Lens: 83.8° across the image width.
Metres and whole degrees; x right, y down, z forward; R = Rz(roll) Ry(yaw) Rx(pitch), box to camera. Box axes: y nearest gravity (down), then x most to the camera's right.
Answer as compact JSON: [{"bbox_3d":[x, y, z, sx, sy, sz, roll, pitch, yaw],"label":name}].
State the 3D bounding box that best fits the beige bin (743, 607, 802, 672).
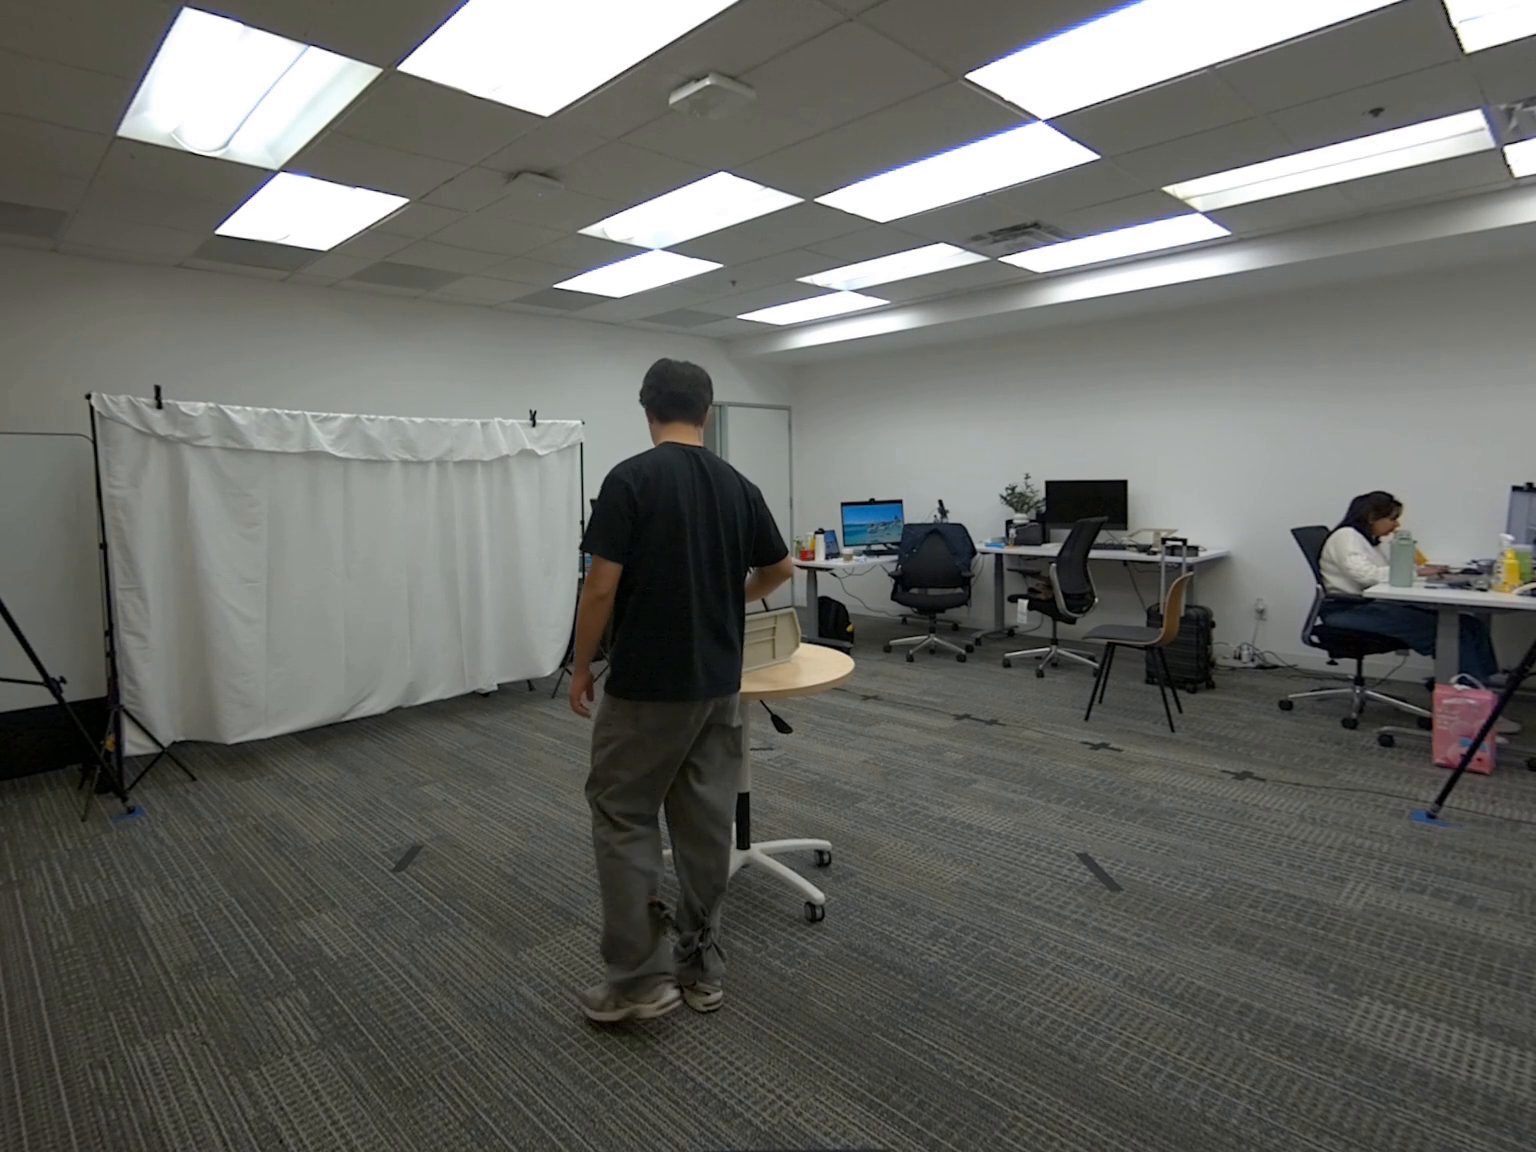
[{"bbox_3d":[-0.160,0.198,2.936,0.368,0.188,0.436,-9,11,-44],"label":"beige bin"}]
